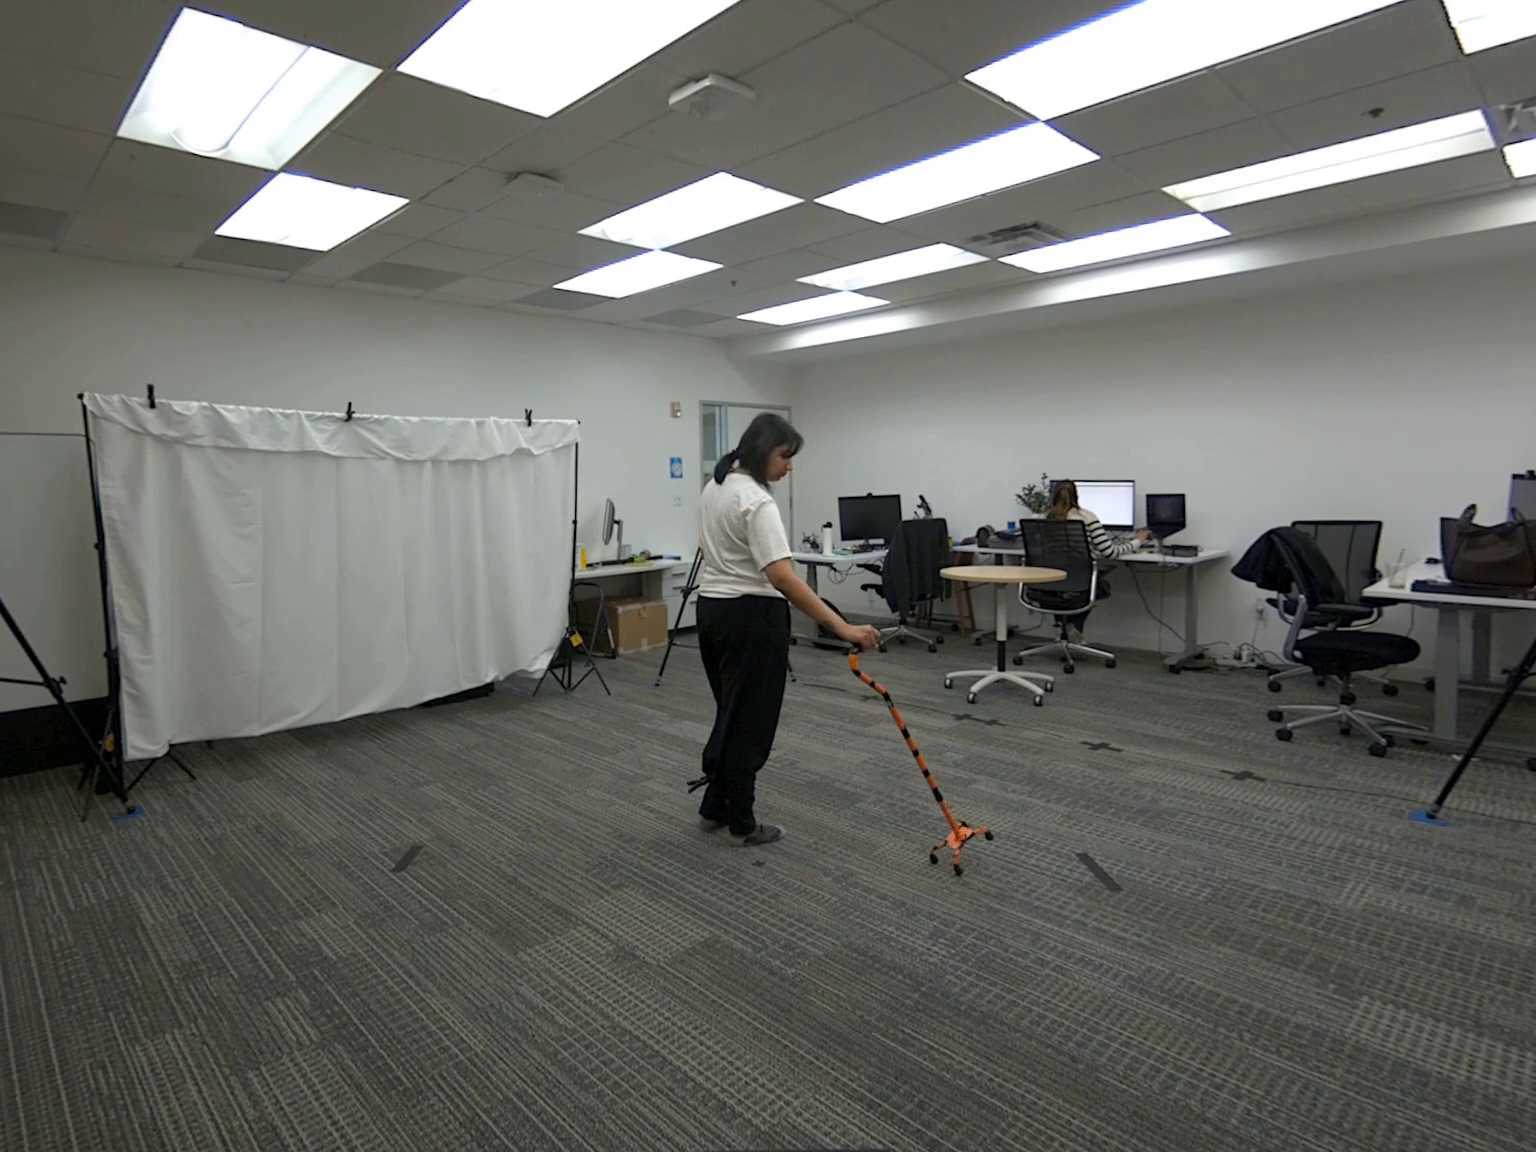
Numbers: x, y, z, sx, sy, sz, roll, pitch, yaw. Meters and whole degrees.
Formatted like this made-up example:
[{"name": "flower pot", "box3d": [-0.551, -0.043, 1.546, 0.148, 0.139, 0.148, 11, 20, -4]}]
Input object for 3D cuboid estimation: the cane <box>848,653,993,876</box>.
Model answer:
[{"name": "cane", "box3d": [0.502, 0.605, 2.964, 0.205, 0.892, 0.155, -34, 16, -27]}]
